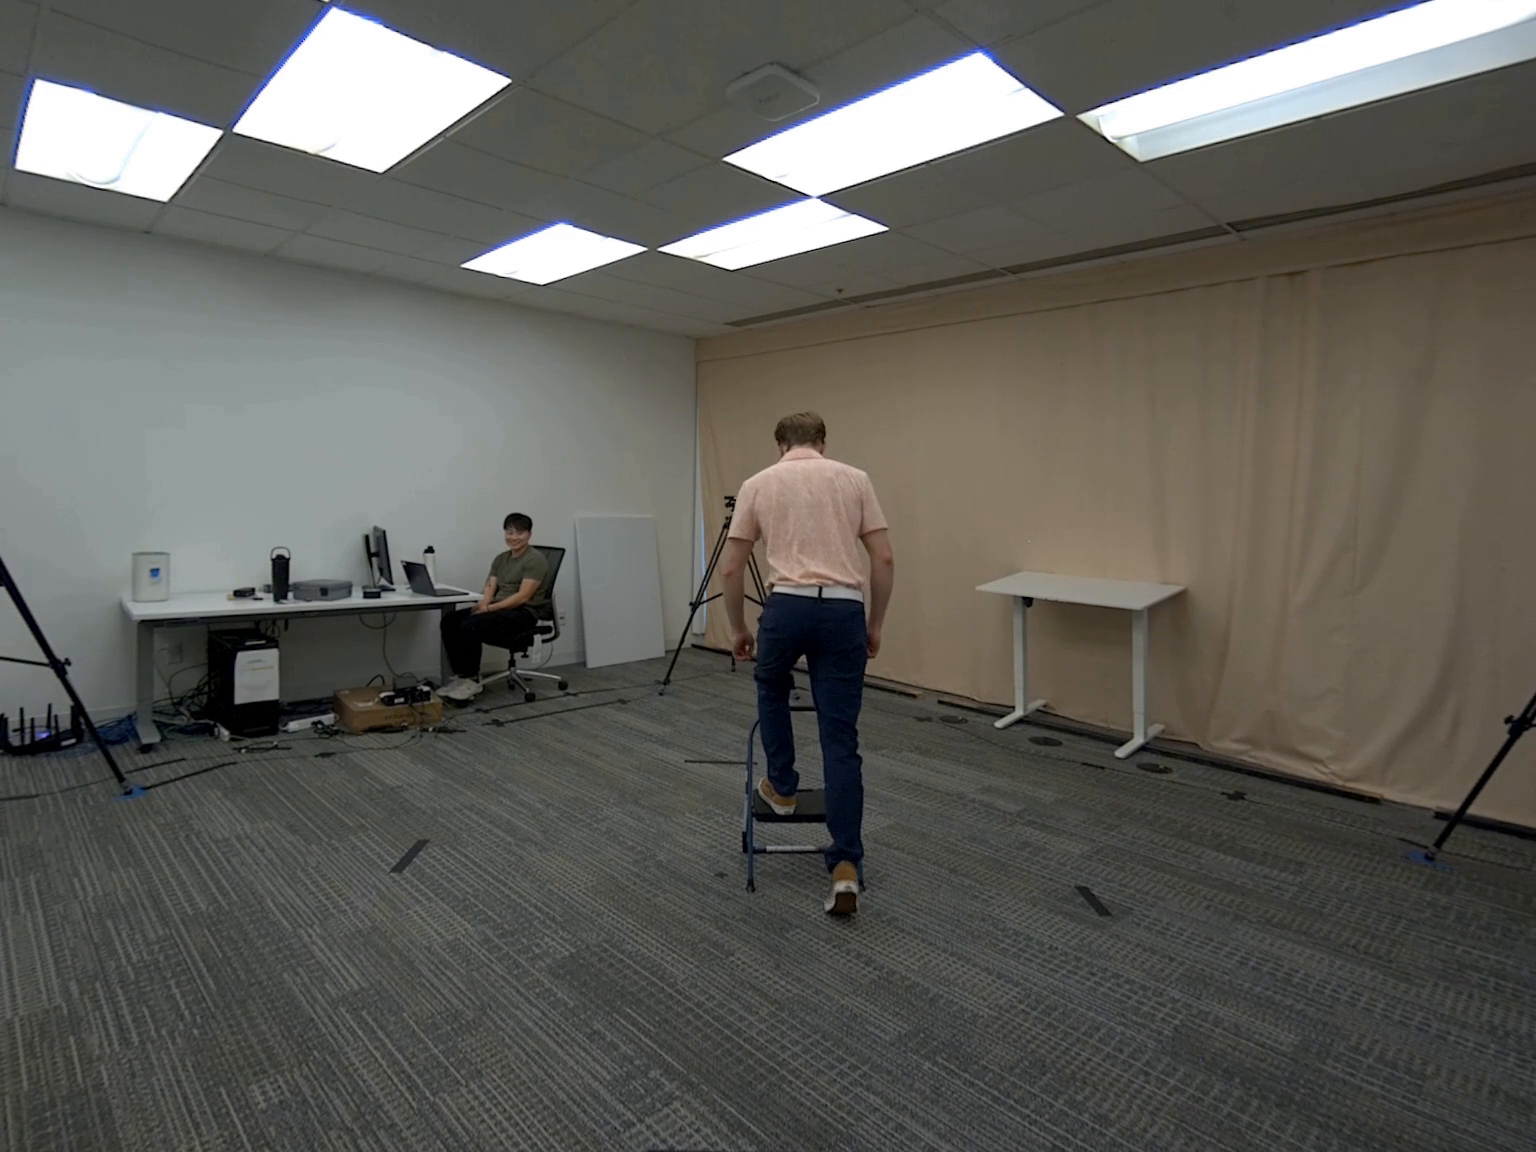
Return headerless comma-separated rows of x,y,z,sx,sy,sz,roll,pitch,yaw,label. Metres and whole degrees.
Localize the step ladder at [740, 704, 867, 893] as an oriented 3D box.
0.121,0.810,3.150,0.429,0.604,0.351,2,4,-5,step ladder
